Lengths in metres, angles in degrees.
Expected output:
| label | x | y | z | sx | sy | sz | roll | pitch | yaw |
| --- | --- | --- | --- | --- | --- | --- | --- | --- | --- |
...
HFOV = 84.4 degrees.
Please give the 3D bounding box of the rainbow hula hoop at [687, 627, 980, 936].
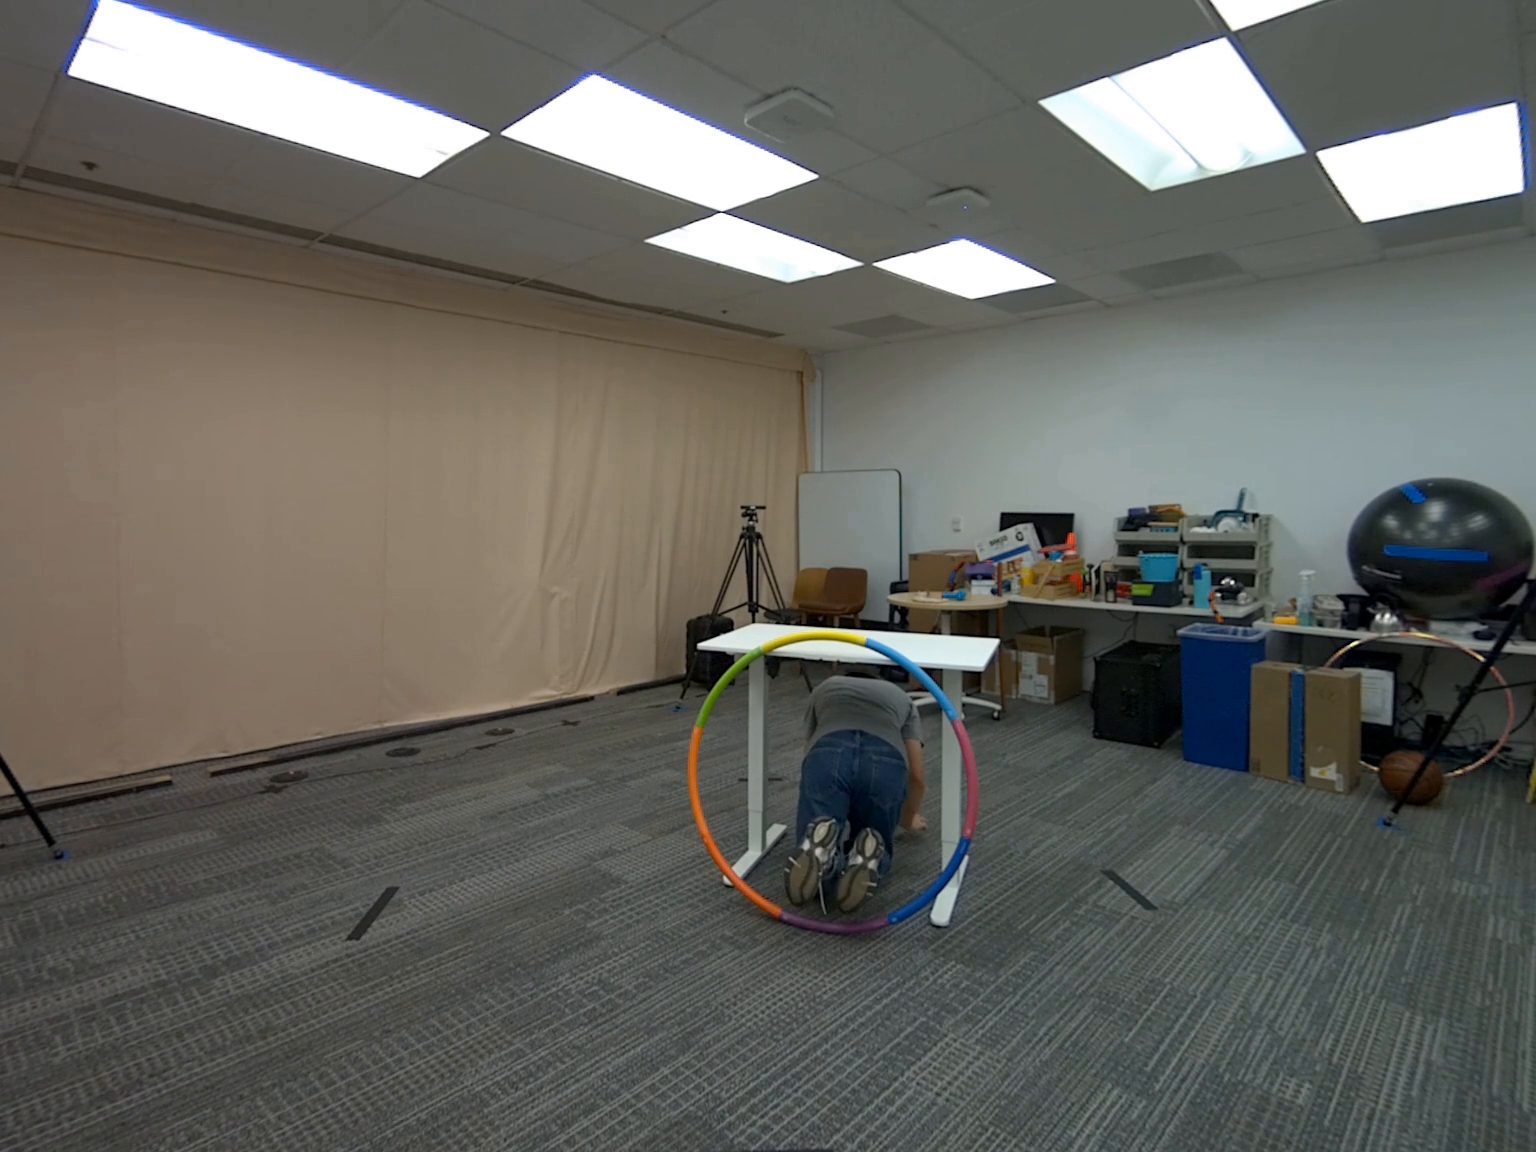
| label | x | y | z | sx | sy | sz | roll | pitch | yaw |
| --- | --- | --- | --- | --- | --- | --- | --- | --- | --- |
| rainbow hula hoop | 0.184 | 0.676 | 2.810 | 1.001 | 0.982 | 0.034 | 1 | -6 | 22 |
